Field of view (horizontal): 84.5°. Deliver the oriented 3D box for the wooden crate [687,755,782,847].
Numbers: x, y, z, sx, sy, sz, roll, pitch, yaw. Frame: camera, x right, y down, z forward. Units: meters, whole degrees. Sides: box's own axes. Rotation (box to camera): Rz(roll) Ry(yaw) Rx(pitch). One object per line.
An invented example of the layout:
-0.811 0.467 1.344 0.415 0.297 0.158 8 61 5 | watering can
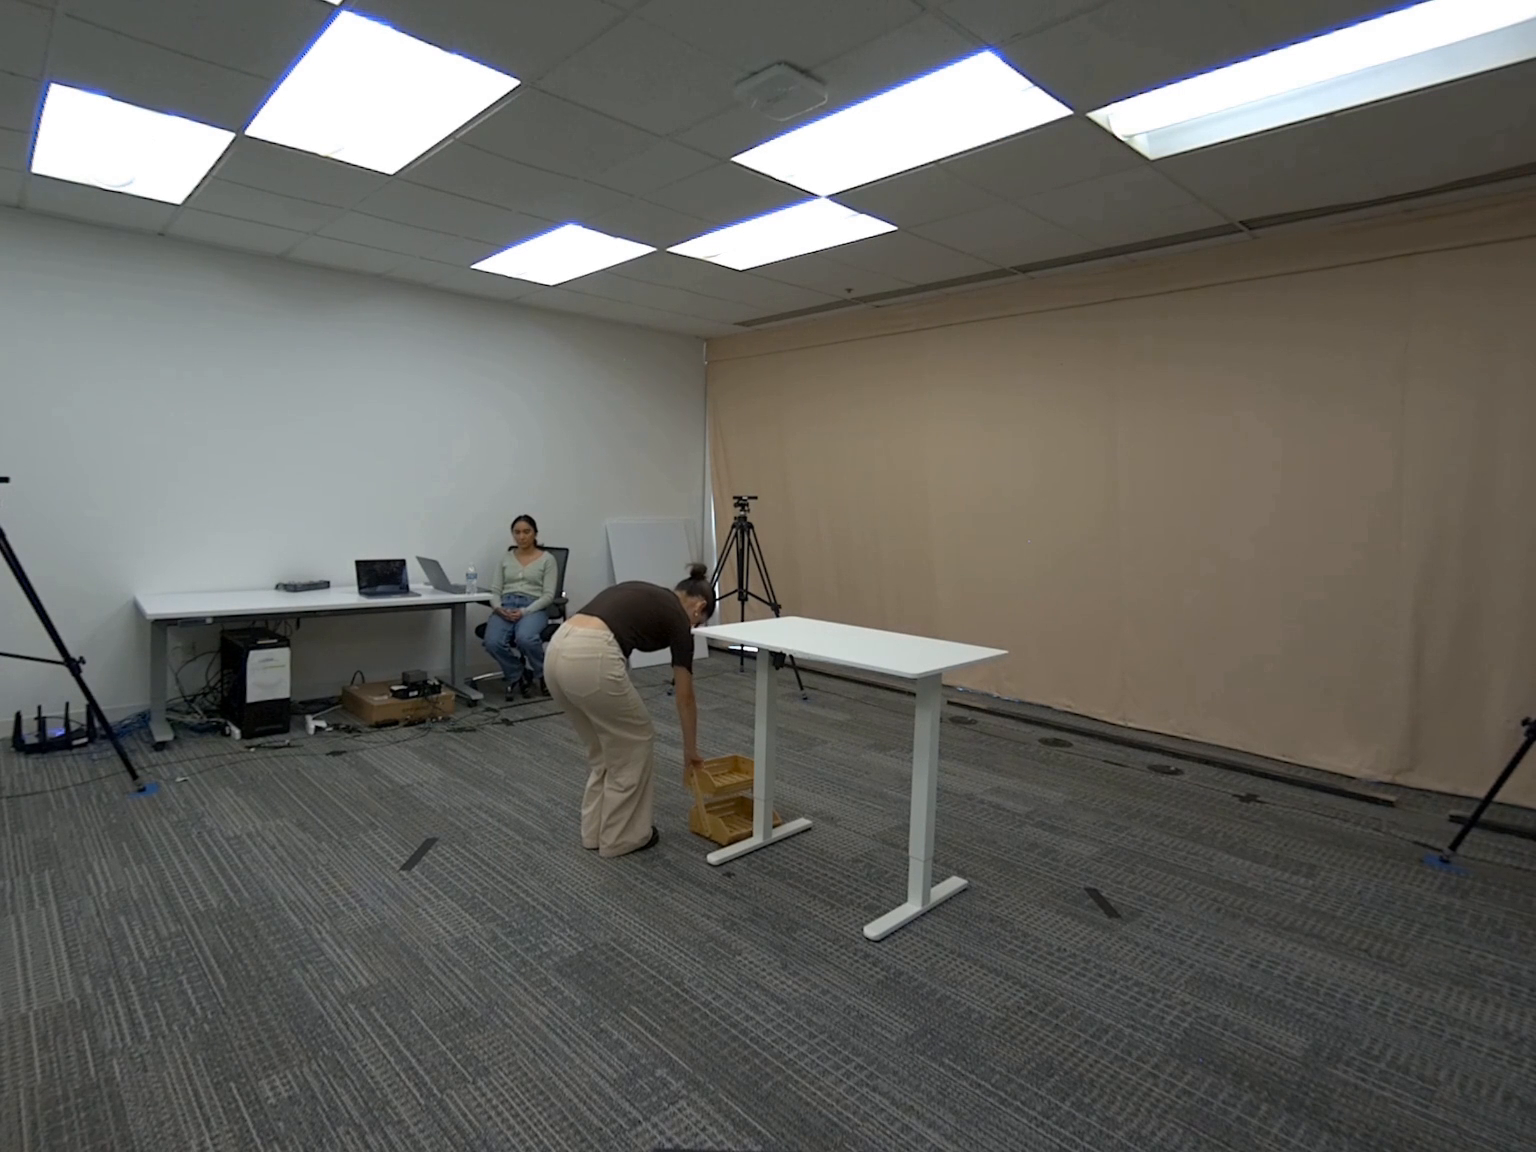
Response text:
-0.152 0.924 3.529 0.309 0.273 0.316 4 2 45 | wooden crate
